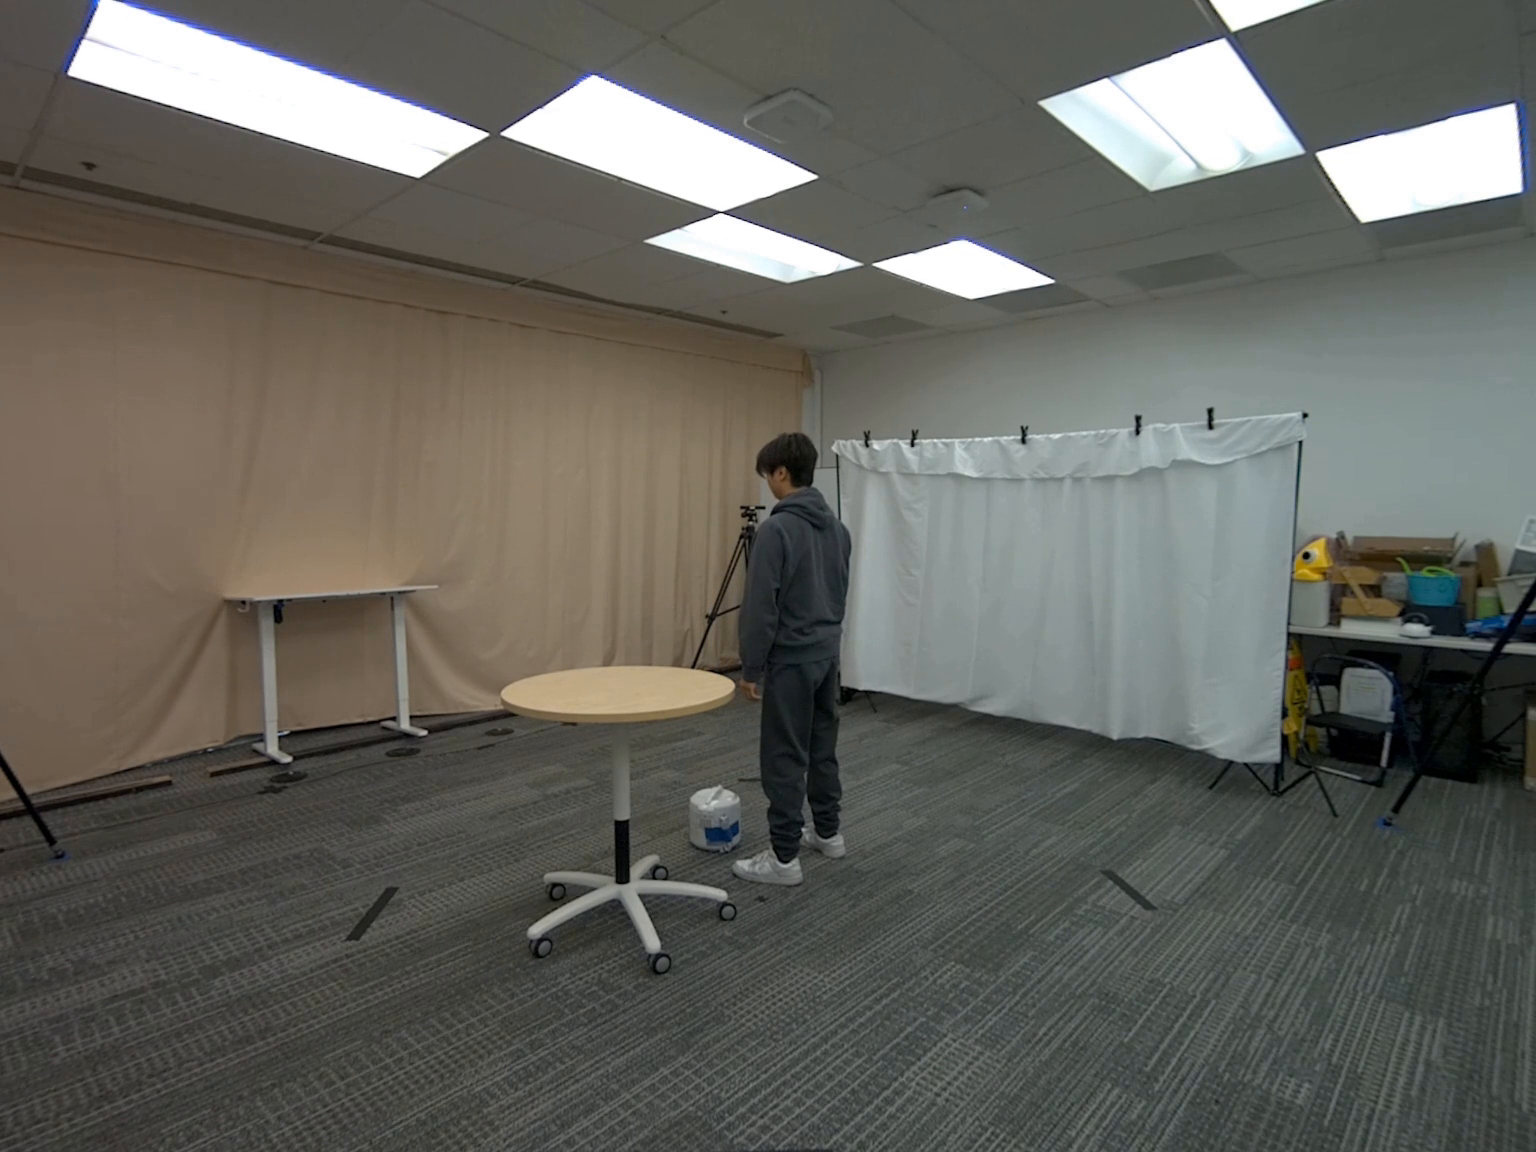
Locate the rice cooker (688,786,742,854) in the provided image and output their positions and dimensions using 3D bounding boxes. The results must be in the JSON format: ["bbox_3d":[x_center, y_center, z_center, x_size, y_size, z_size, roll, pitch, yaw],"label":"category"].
[{"bbox_3d":[-0.218,0.992,3.467,0.222,0.232,0.216,1,4,20],"label":"rice cooker"}]
